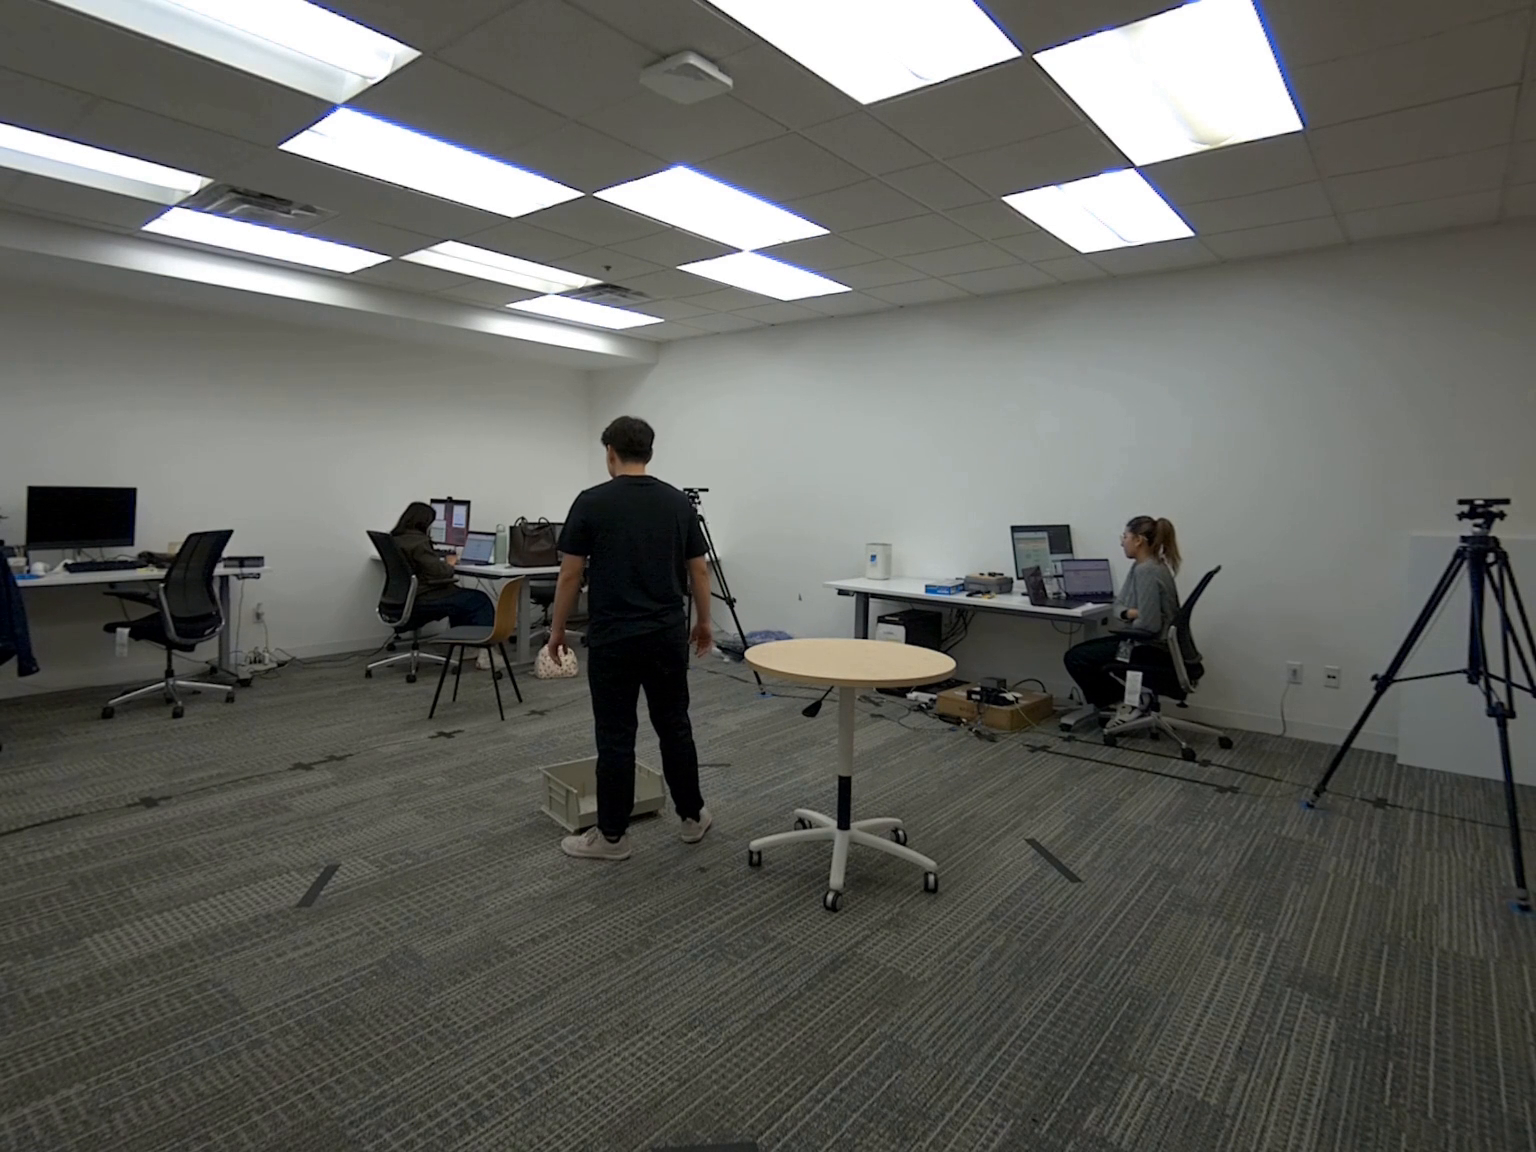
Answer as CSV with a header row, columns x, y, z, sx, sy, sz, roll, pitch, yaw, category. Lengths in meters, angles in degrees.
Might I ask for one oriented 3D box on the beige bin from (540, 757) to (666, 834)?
x,y,z,sx,sy,sz,roll,pitch,yaw,category
-0.721,0.919,3.634,0.410,0.188,0.390,-3,6,-37,beige bin
